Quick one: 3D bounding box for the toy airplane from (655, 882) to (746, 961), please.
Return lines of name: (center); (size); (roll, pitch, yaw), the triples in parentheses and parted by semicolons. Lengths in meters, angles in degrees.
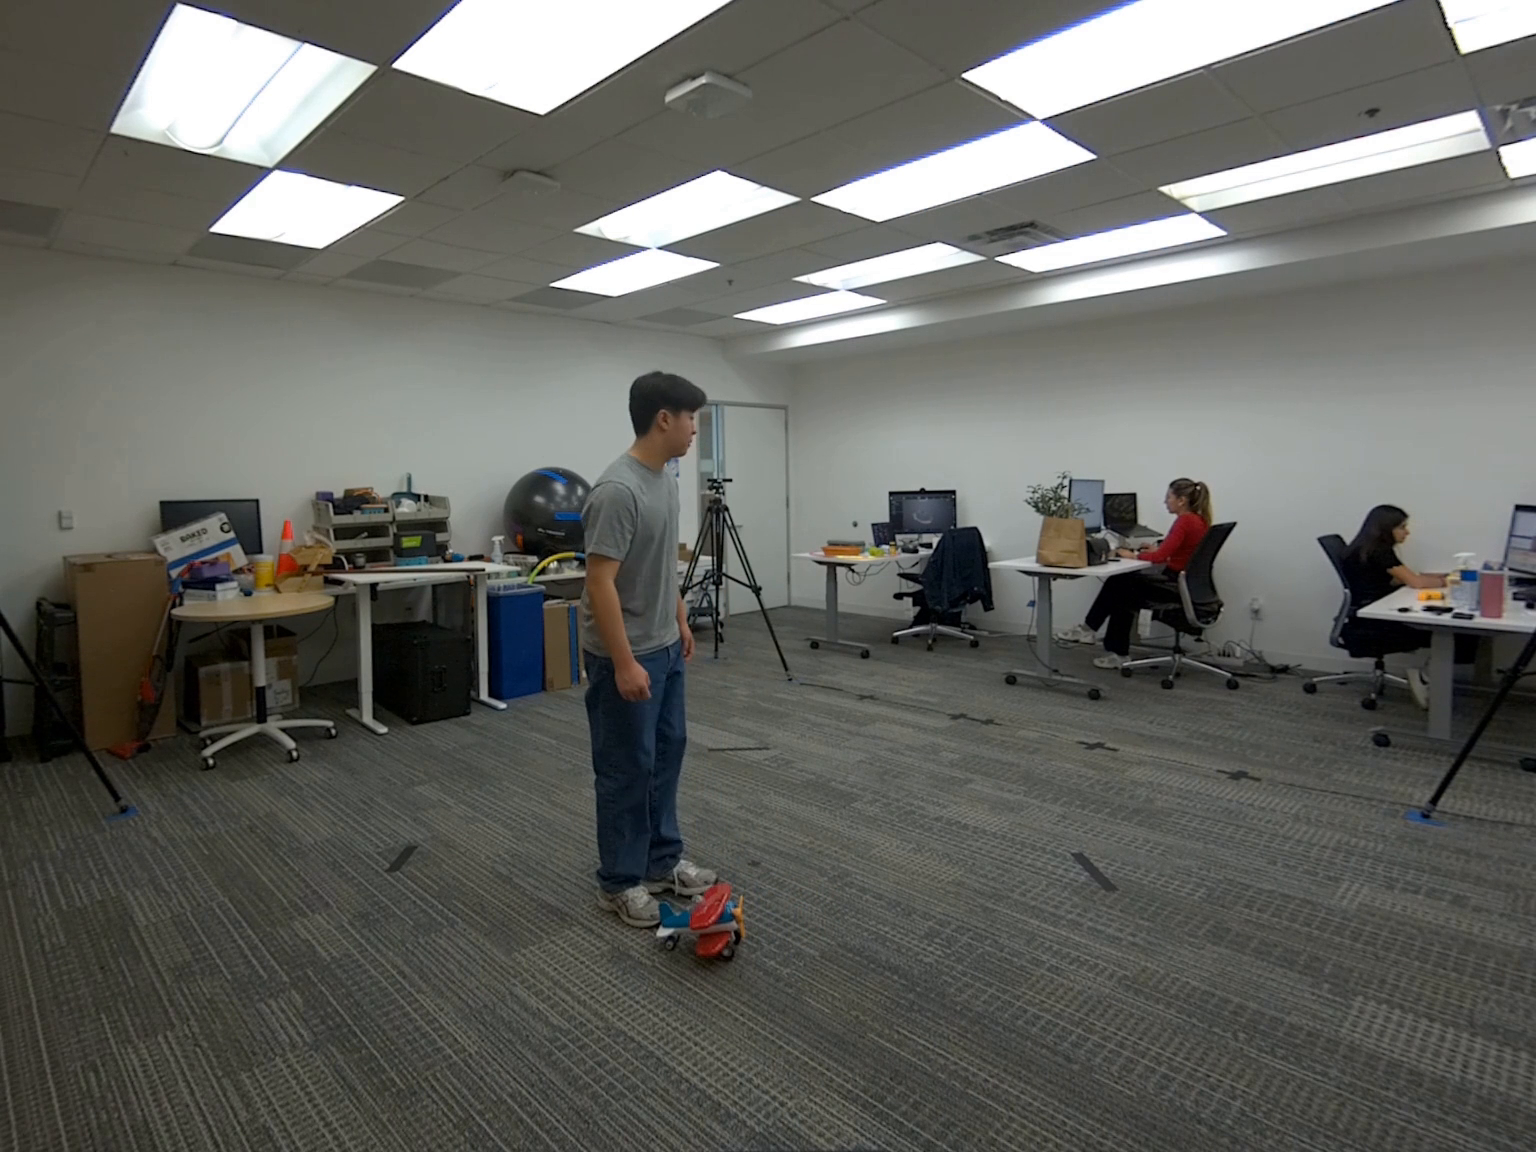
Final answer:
toy airplane: (-0.193, 1.042, 2.526); (0.256, 0.156, 0.255); (-2, 5, -15)
